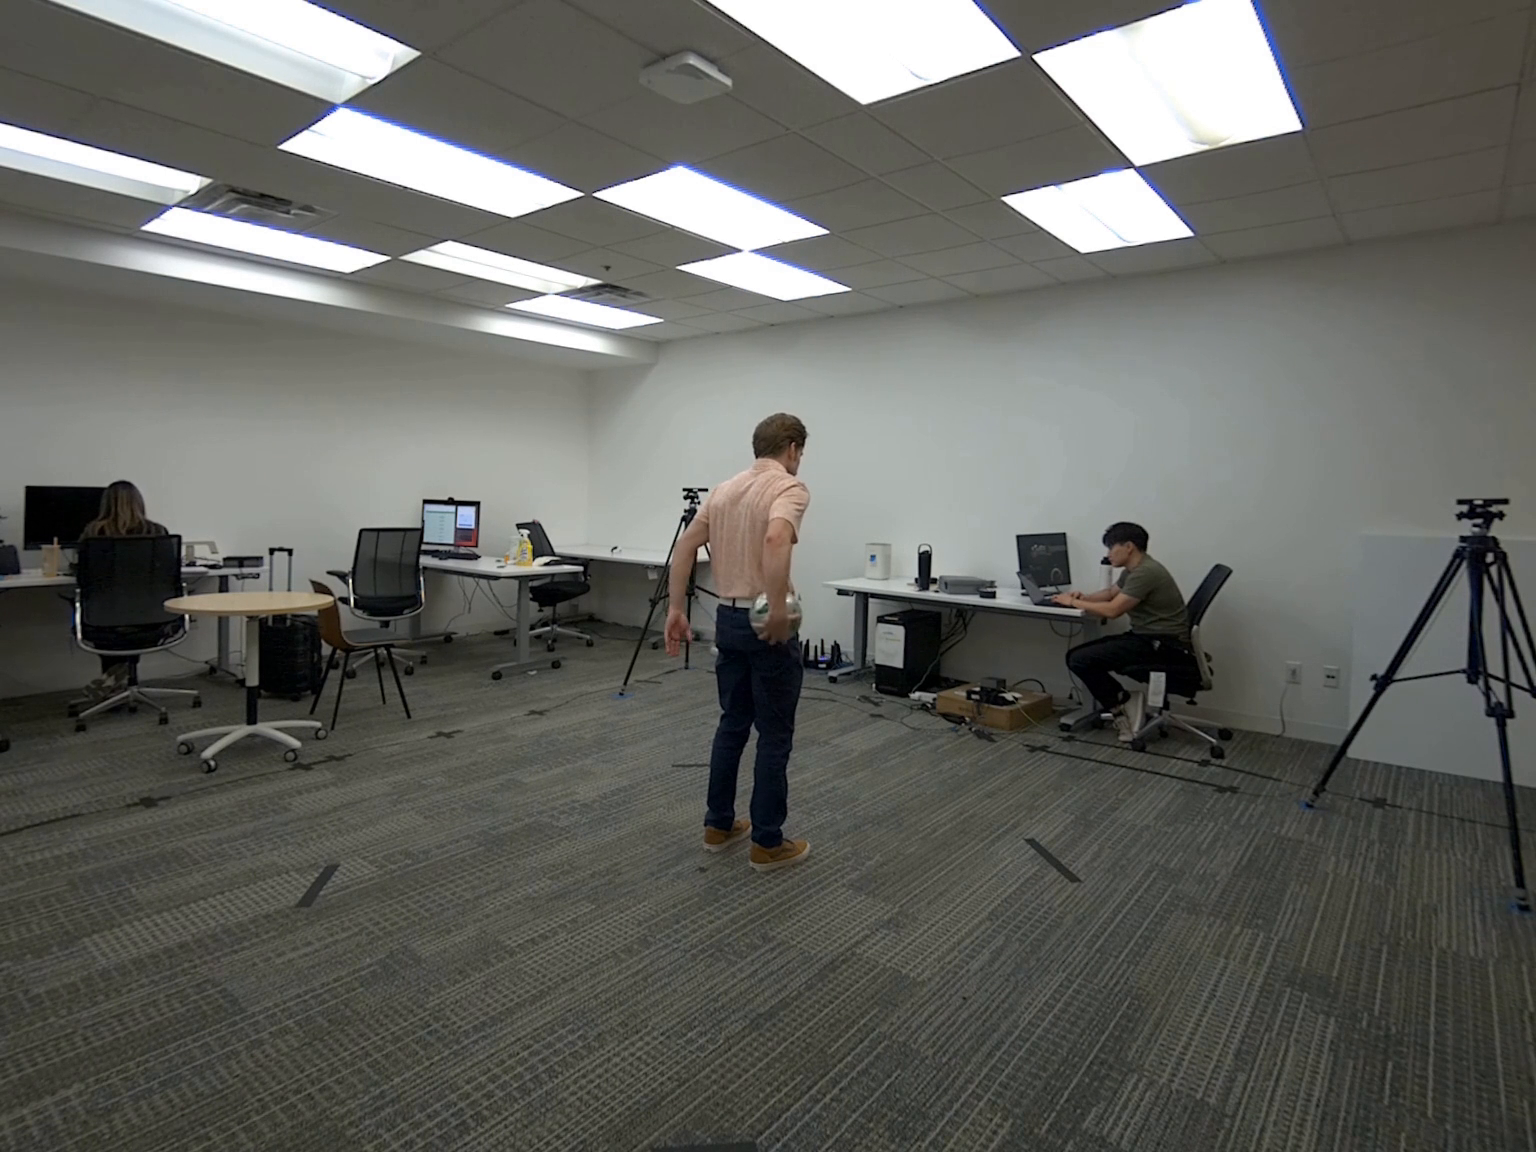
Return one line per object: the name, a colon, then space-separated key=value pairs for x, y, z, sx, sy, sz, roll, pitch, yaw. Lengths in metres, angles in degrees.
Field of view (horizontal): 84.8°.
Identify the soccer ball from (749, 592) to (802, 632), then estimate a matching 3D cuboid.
soccer ball: x=0.027 y=0.132 z=3.013 sx=0.187 sy=0.187 sz=0.188 roll=1 pitch=4 yaw=-2
